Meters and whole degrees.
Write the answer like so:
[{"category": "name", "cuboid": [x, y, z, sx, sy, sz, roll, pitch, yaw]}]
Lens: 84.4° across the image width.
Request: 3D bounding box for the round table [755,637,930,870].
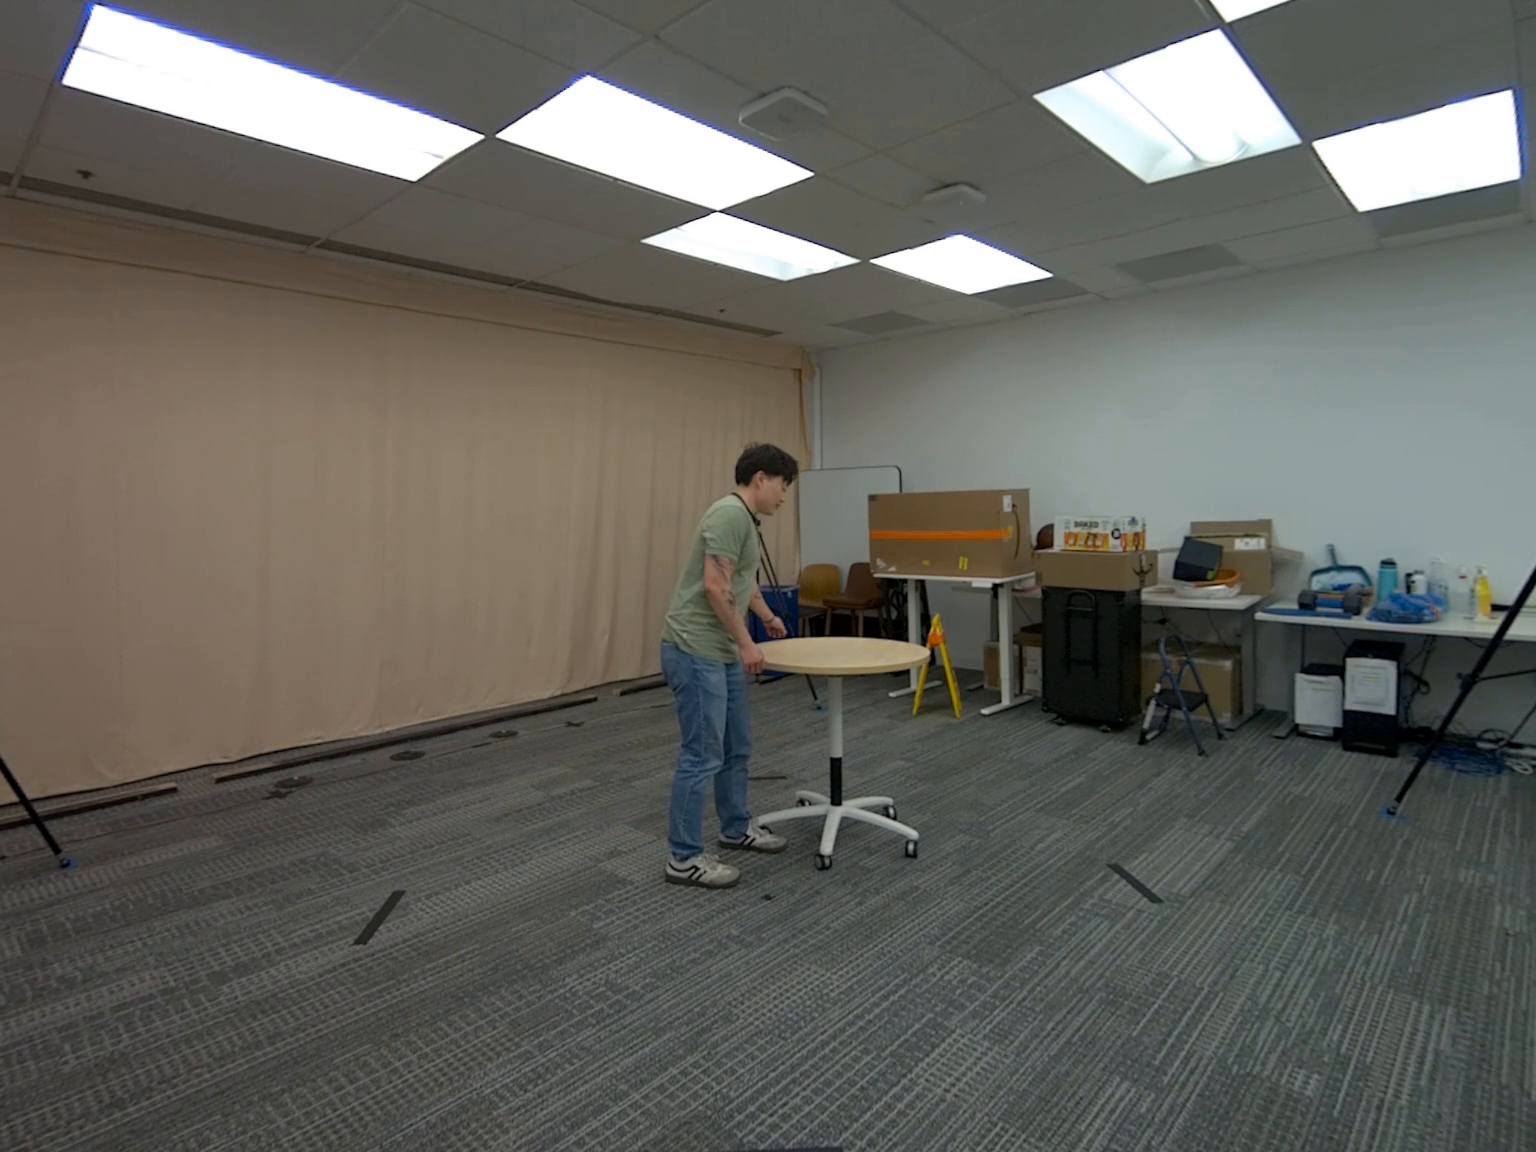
[{"category": "round table", "cuboid": [0.282, 0.701, 3.487, 0.763, 0.792, 0.766, -1, 3, -2]}]
